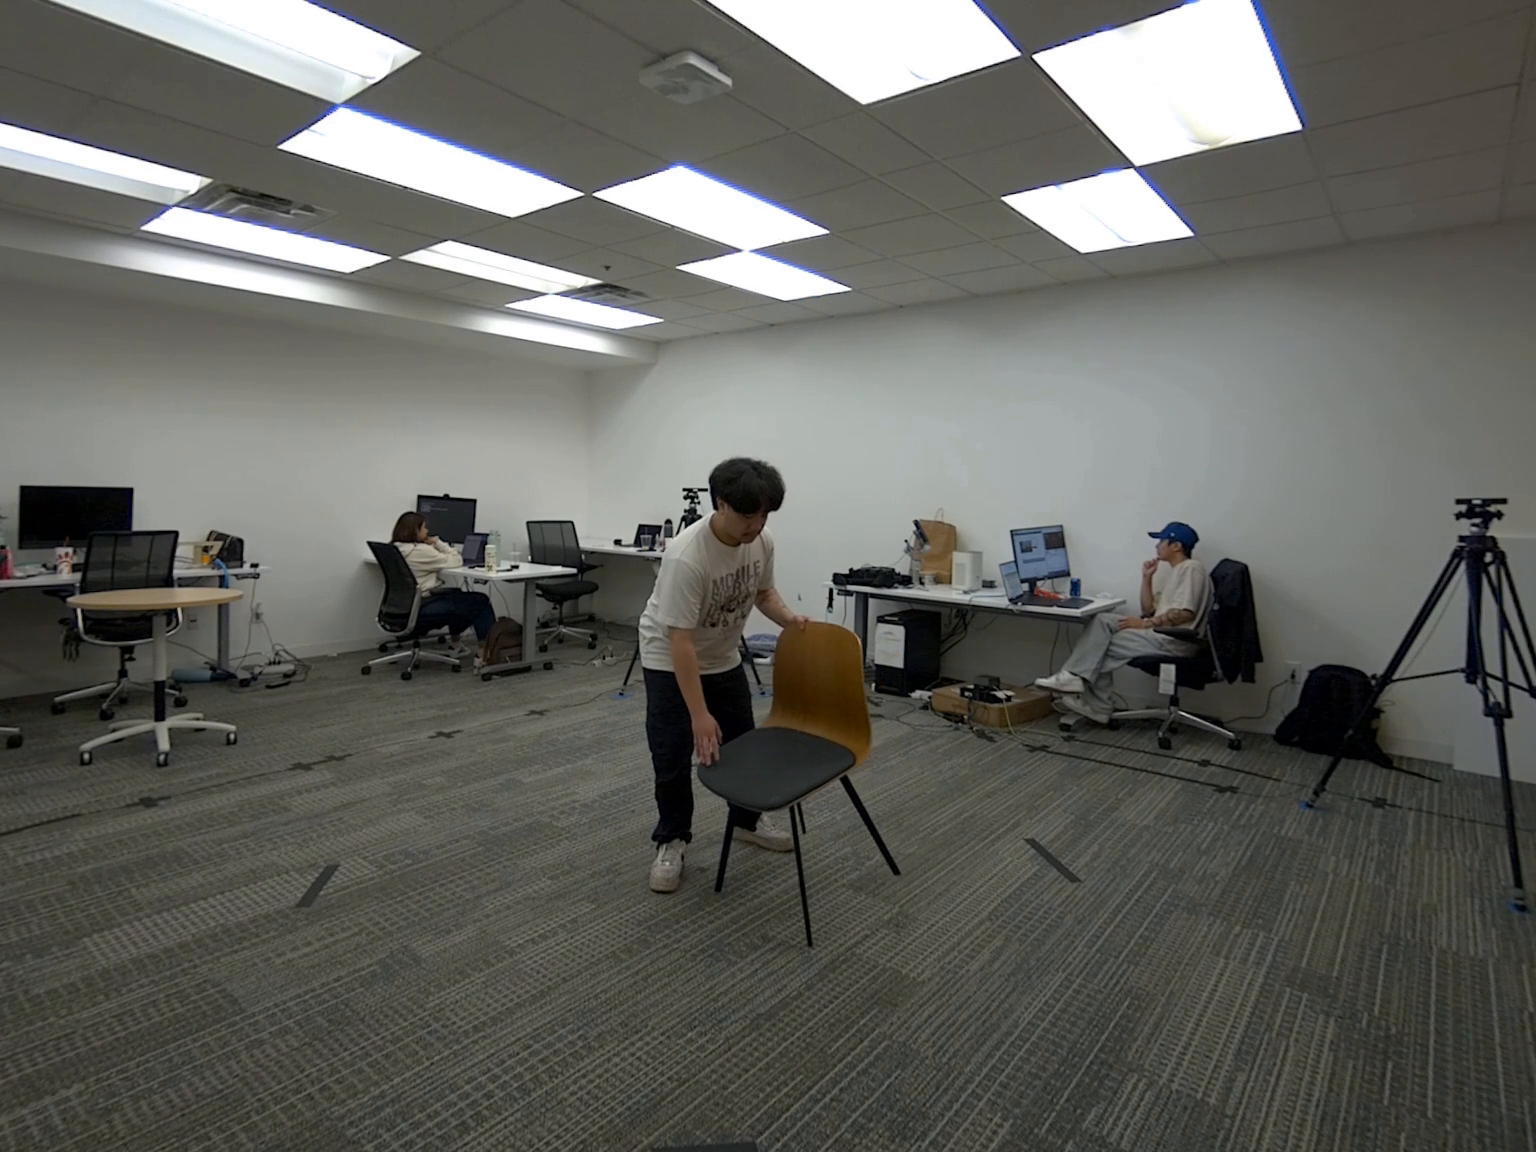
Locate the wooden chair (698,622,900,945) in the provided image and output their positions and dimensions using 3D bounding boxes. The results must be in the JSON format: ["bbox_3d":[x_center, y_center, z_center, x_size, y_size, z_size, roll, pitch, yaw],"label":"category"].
[{"bbox_3d":[0.062,0.641,2.805,0.510,0.869,0.495,-13,13,-41],"label":"wooden chair"}]
